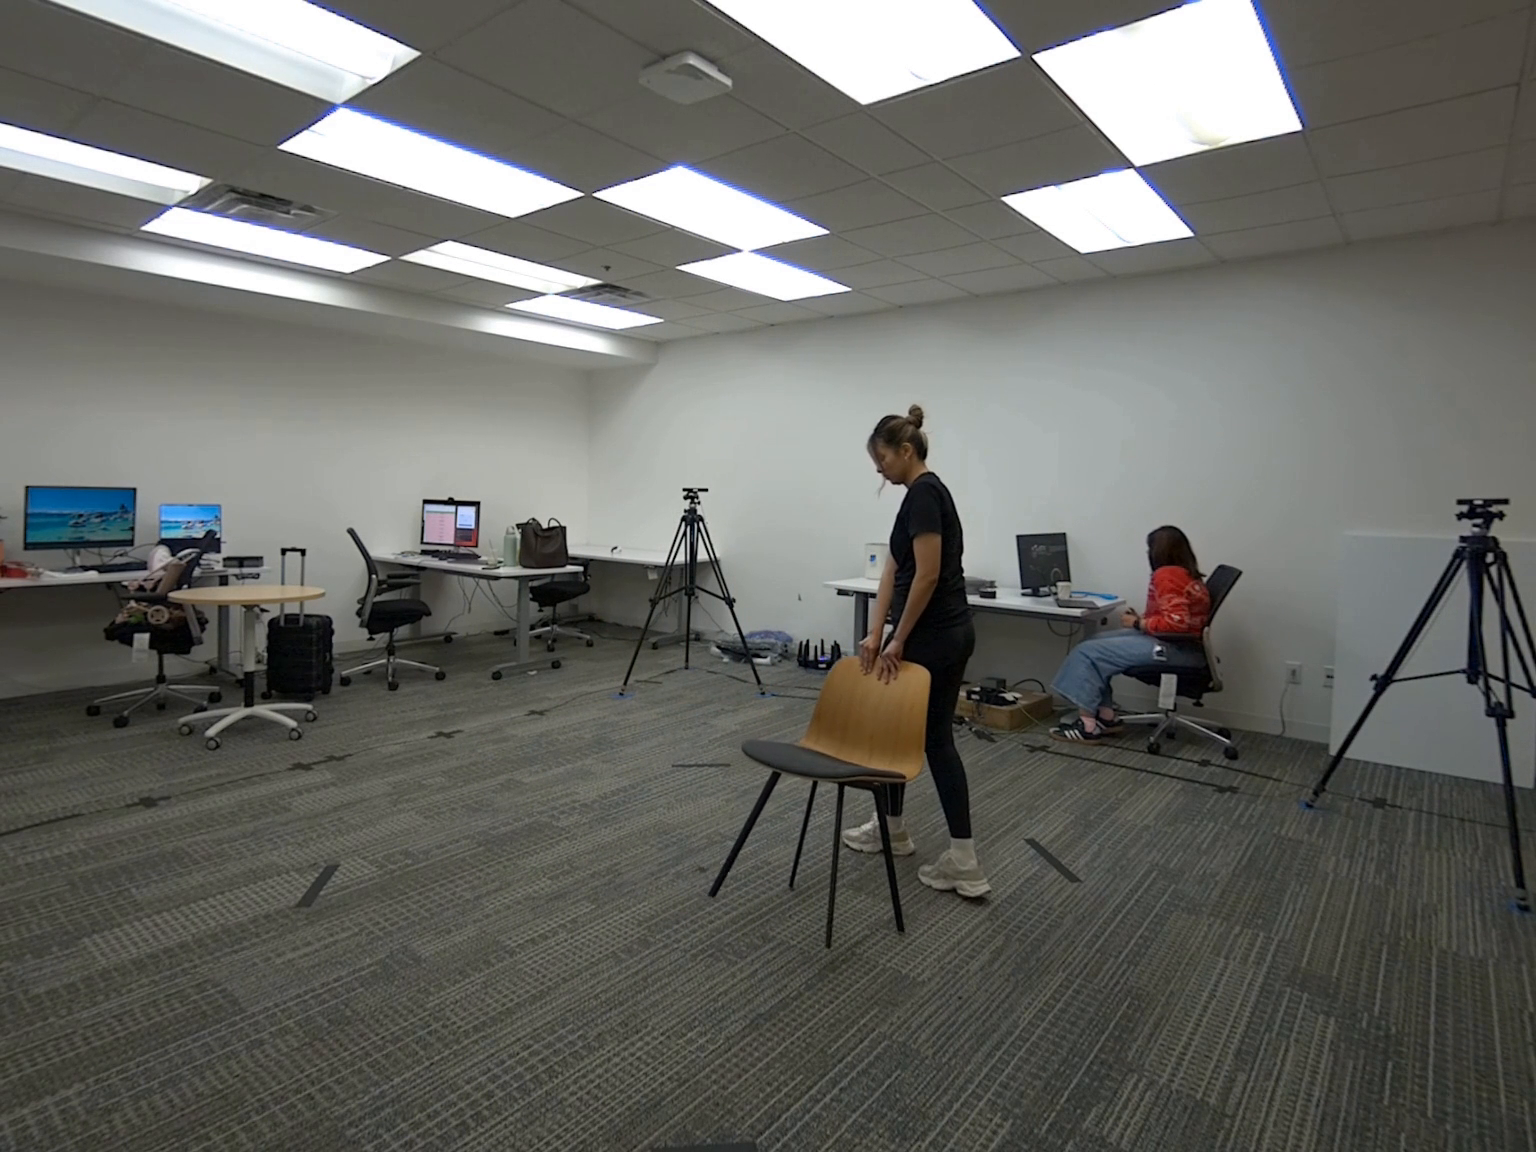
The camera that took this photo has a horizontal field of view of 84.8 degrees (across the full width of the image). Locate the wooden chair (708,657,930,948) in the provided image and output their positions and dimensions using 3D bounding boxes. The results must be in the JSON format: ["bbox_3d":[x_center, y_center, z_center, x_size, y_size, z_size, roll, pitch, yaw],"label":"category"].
[{"bbox_3d":[0.188,0.647,2.724,0.494,0.884,0.502,4,-14,40],"label":"wooden chair"}]
